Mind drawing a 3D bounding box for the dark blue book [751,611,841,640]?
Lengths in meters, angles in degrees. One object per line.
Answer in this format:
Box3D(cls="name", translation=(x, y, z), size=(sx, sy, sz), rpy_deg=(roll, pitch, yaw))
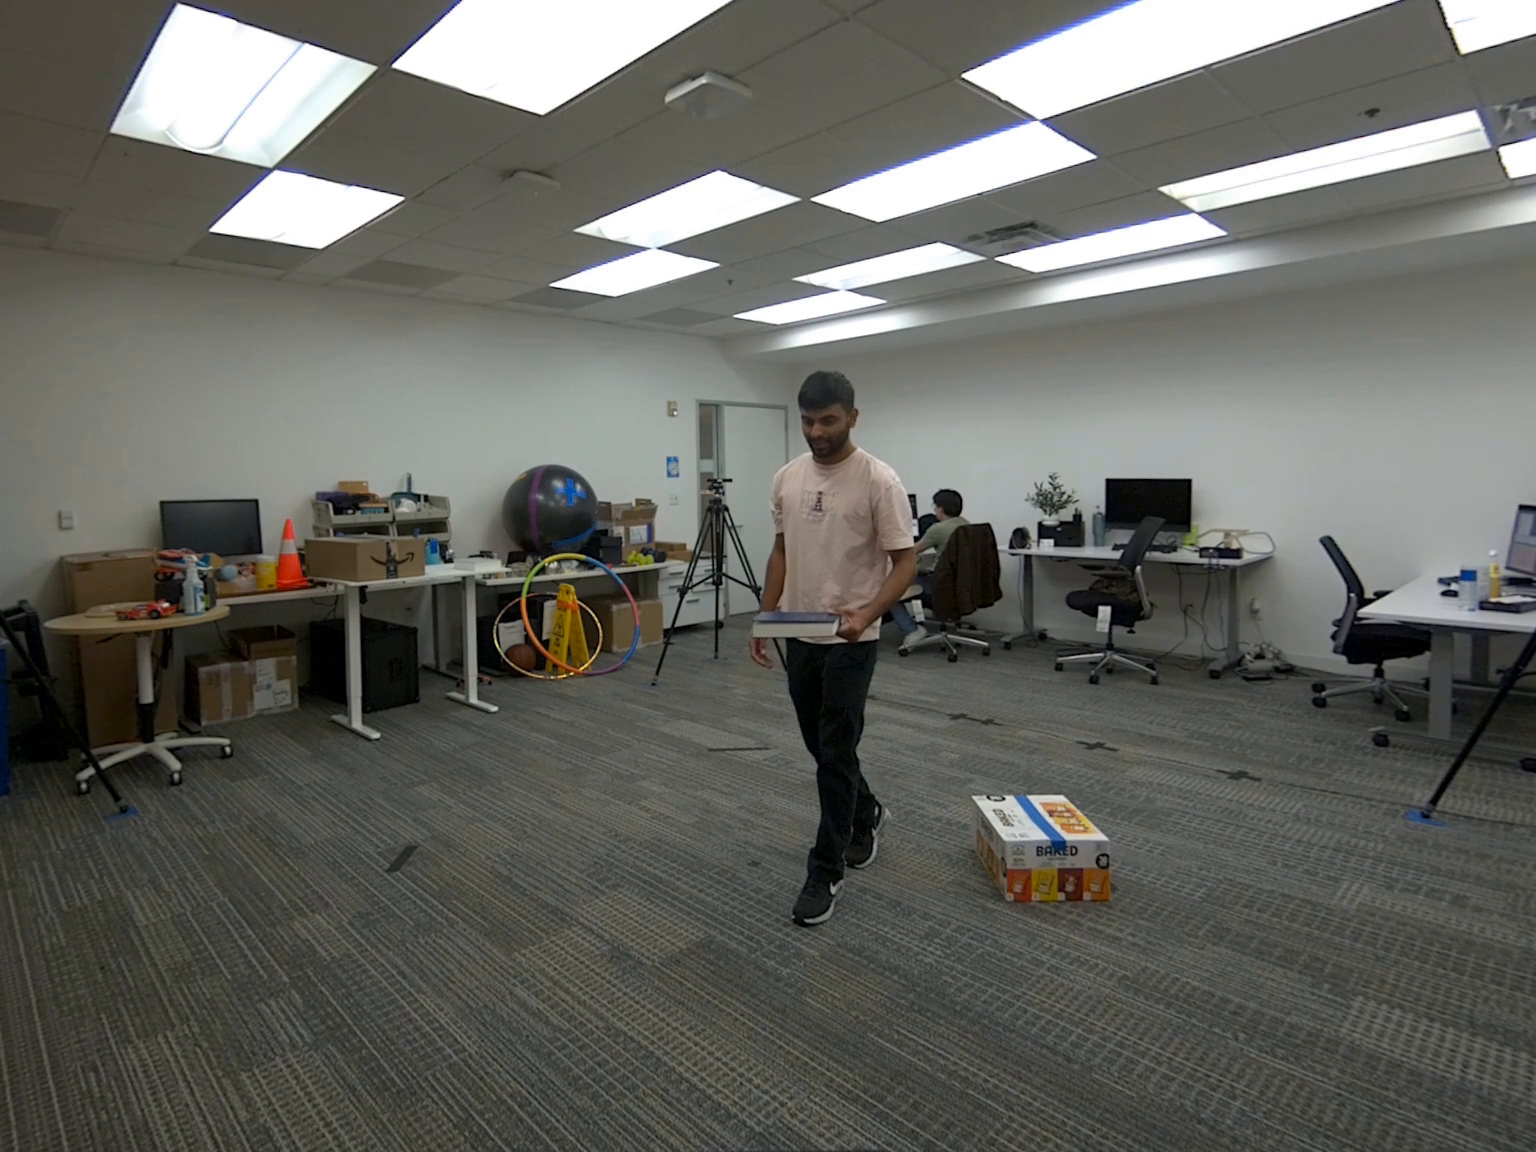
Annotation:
Box3D(cls="dark blue book", translation=(0.109, 0.144, 2.546), size=(0.248, 0.045, 0.162), rpy_deg=(0, 8, 13))
